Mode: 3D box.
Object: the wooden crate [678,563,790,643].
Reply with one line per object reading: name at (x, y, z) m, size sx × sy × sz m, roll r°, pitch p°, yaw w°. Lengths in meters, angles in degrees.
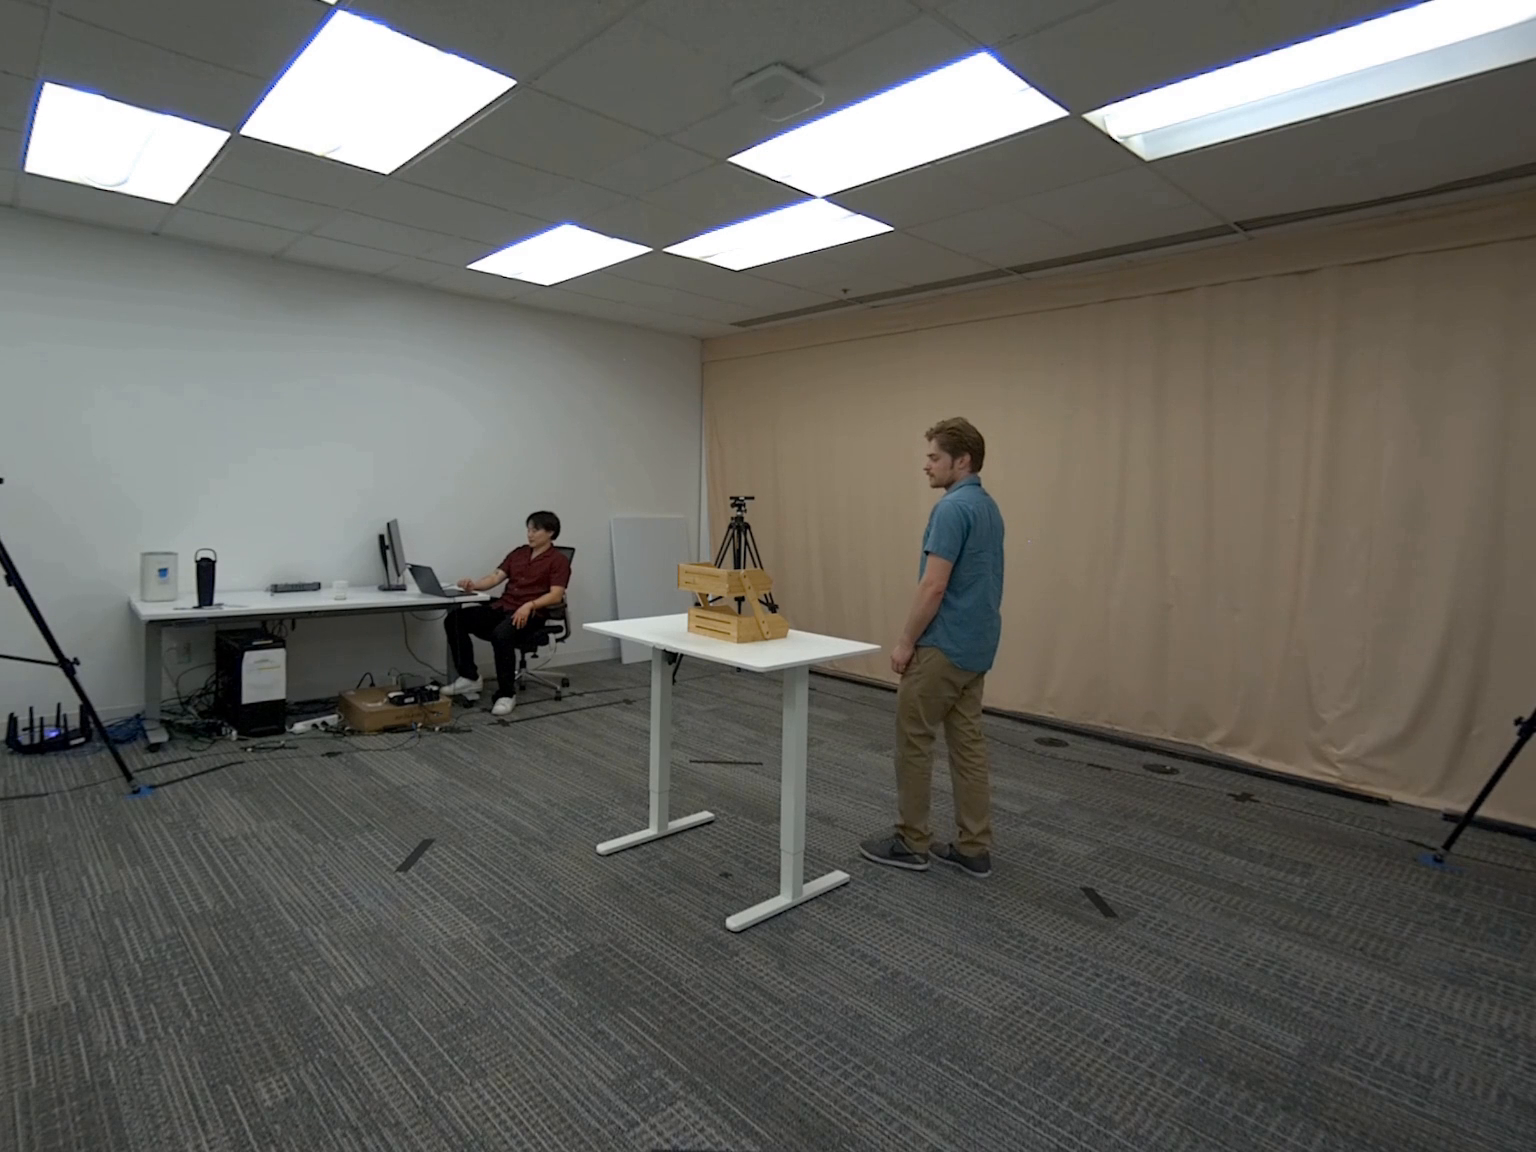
wooden crate at (-0.135, 0.089, 3.114) m, size 0.295 × 0.272 × 0.333 m, roll -4°, pitch 7°, yaw -42°
